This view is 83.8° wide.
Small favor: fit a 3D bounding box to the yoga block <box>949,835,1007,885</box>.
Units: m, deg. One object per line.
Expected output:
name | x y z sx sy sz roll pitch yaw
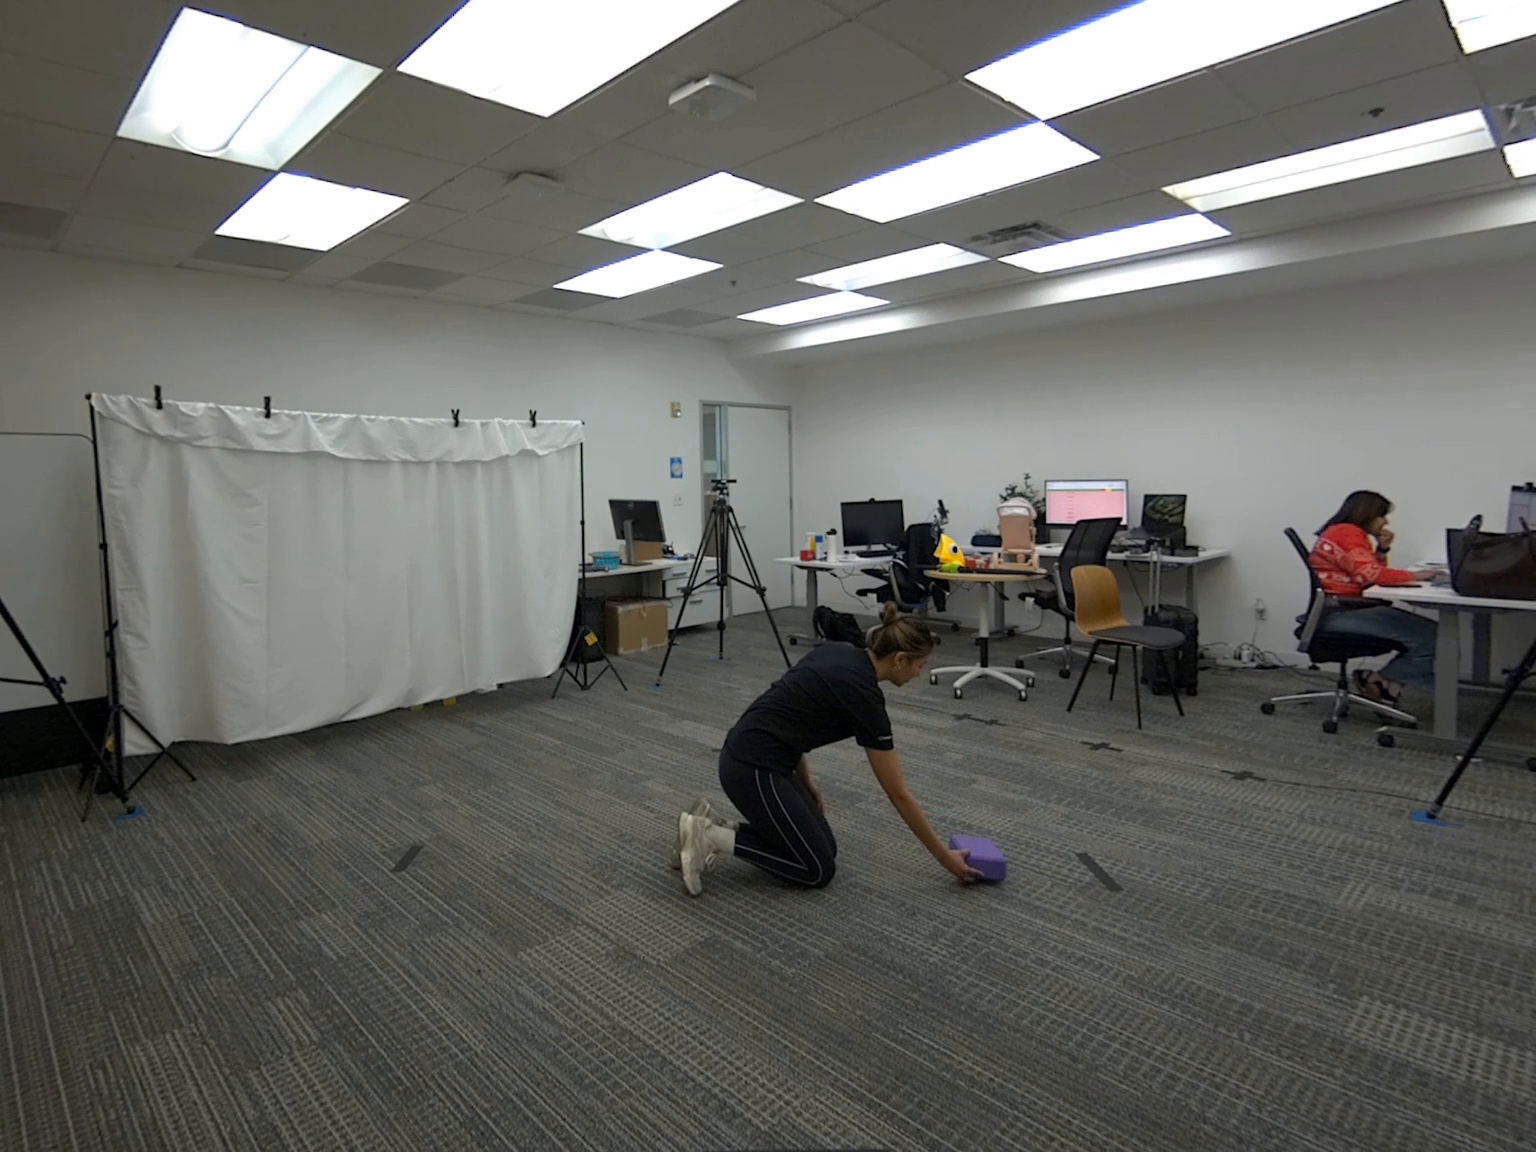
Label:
yoga block | 0.731 0.984 3.008 0.149 0.076 0.229 4 3 2
